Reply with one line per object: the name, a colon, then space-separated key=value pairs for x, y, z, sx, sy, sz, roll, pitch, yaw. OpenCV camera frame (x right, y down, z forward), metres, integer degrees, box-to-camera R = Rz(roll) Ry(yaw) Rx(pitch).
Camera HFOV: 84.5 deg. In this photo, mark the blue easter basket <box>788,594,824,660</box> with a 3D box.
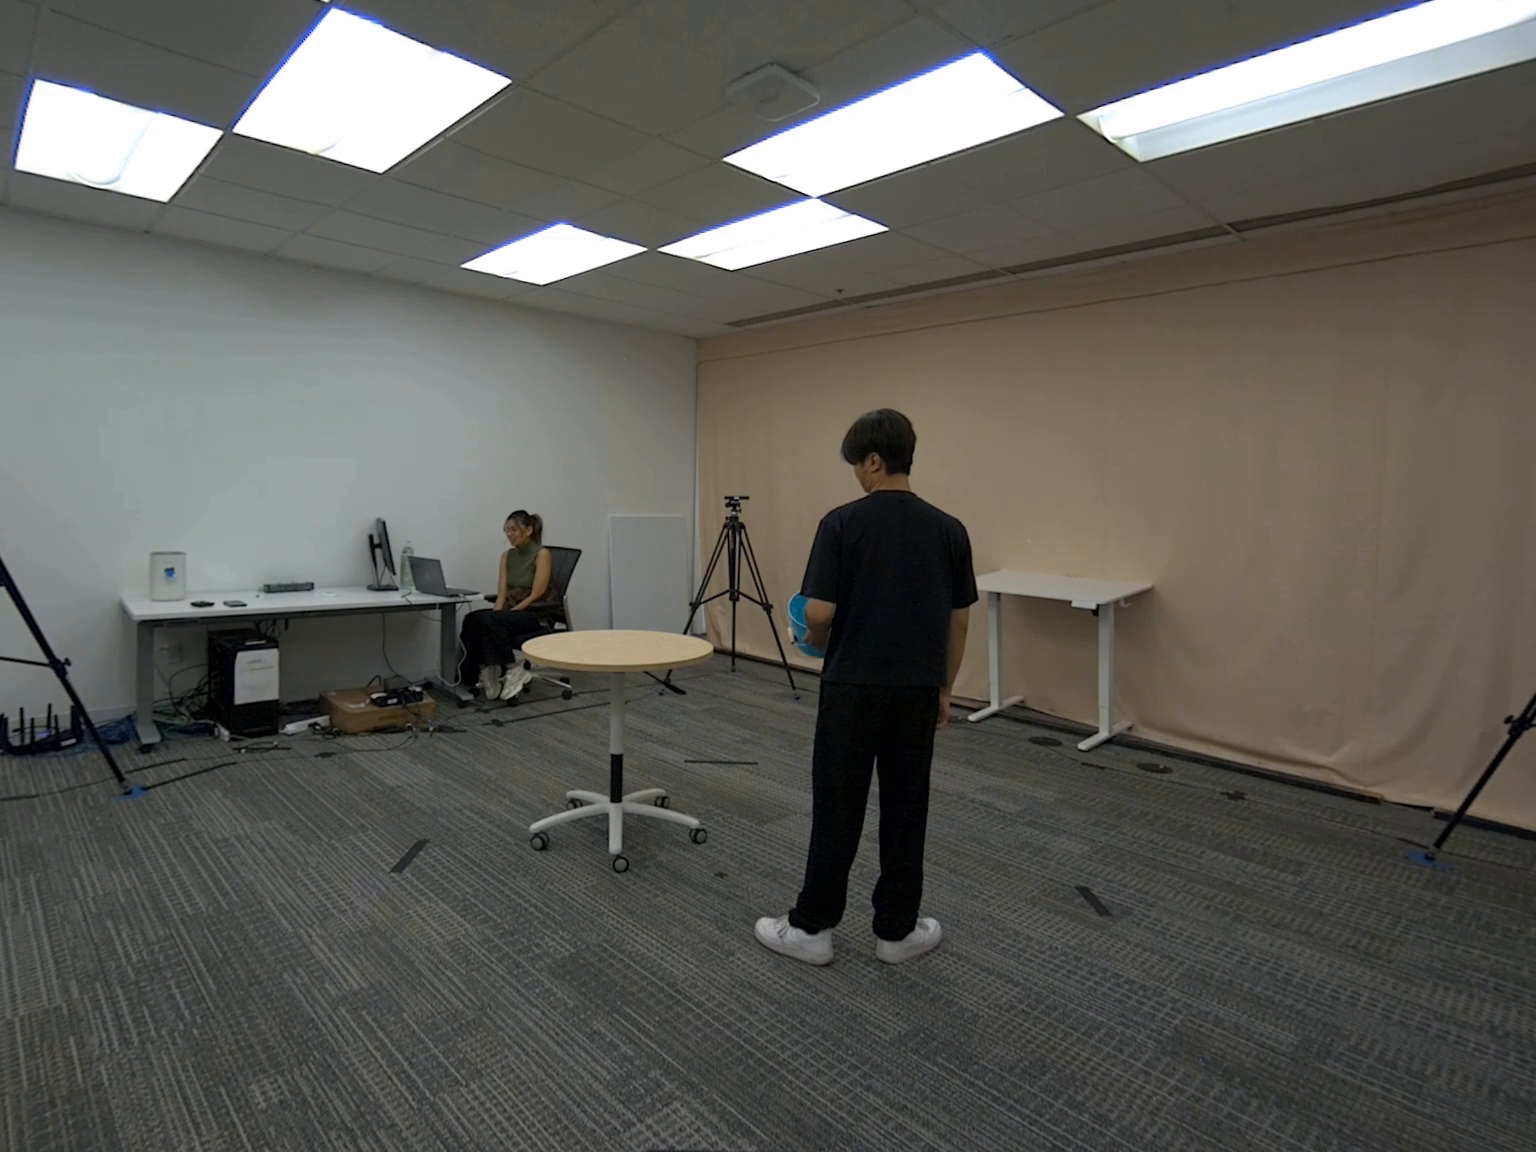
blue easter basket: x=0.173 y=0.166 z=2.892 sx=0.244 sy=0.152 sz=0.249 roll=-2 pitch=38 yaw=0
